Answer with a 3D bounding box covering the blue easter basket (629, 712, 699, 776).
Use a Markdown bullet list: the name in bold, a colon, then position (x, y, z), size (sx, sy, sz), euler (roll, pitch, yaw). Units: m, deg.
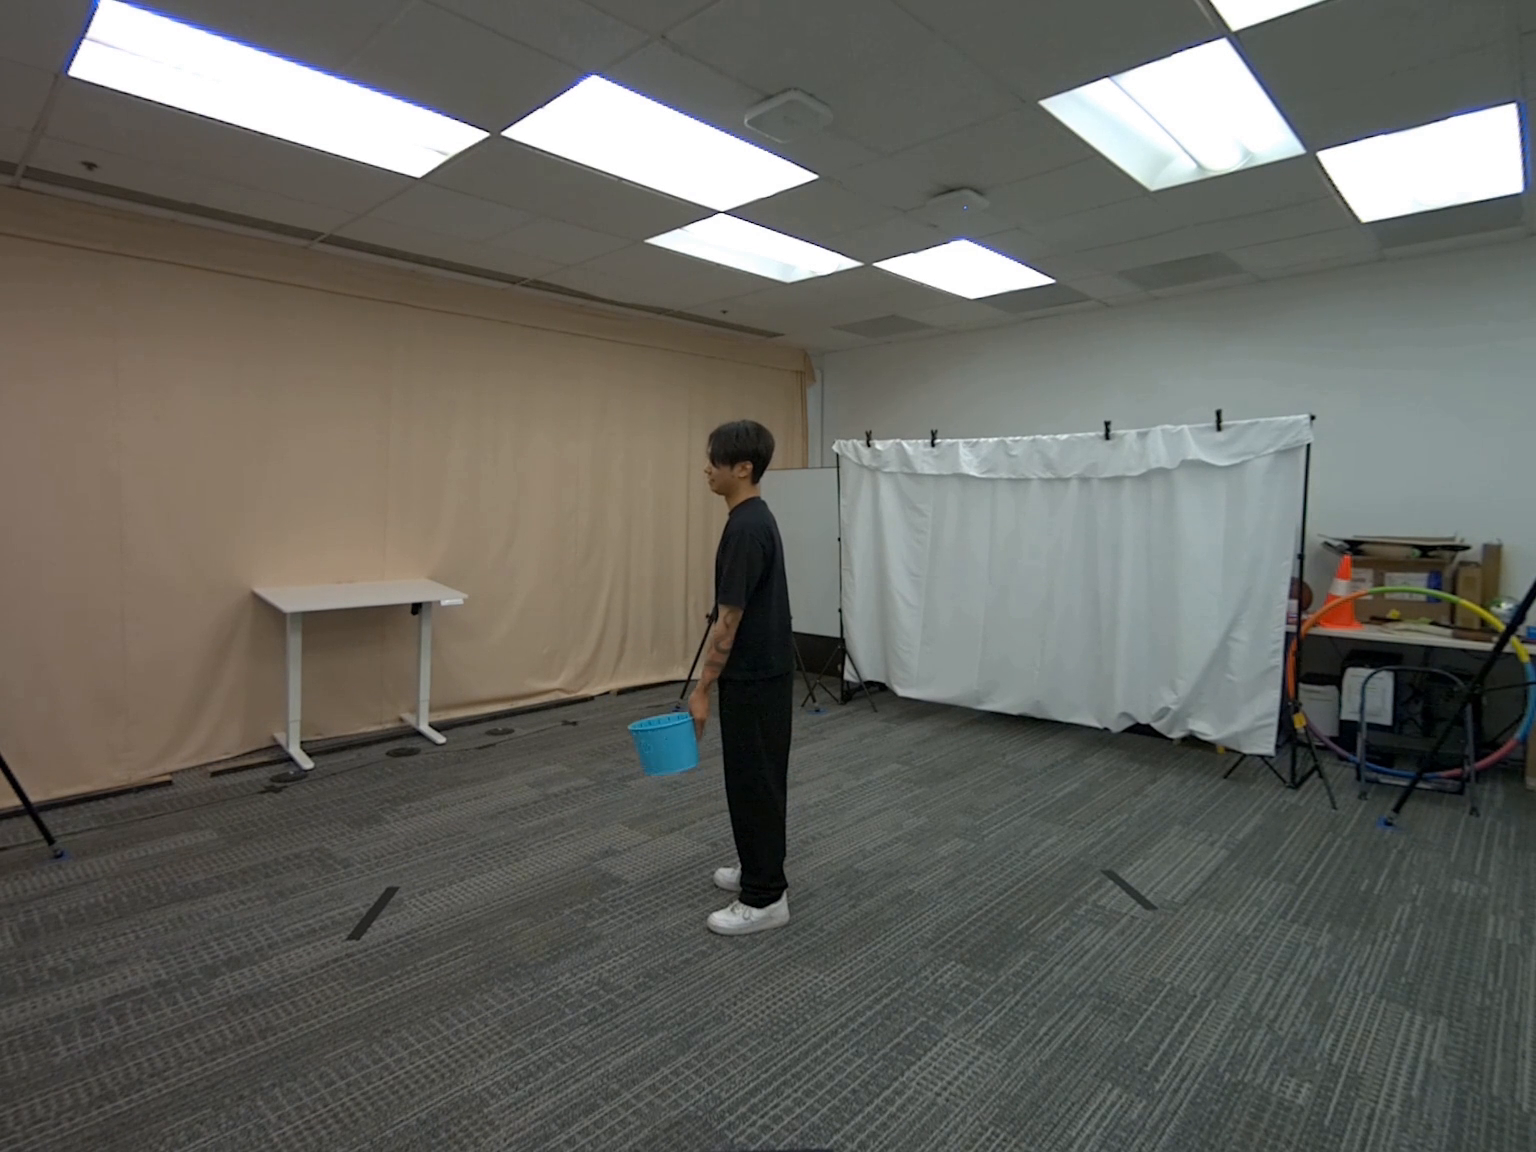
- **blue easter basket**: position (-0.310, 0.527, 2.697), size (0.243, 0.156, 0.244), euler (-10, 1, -2)
